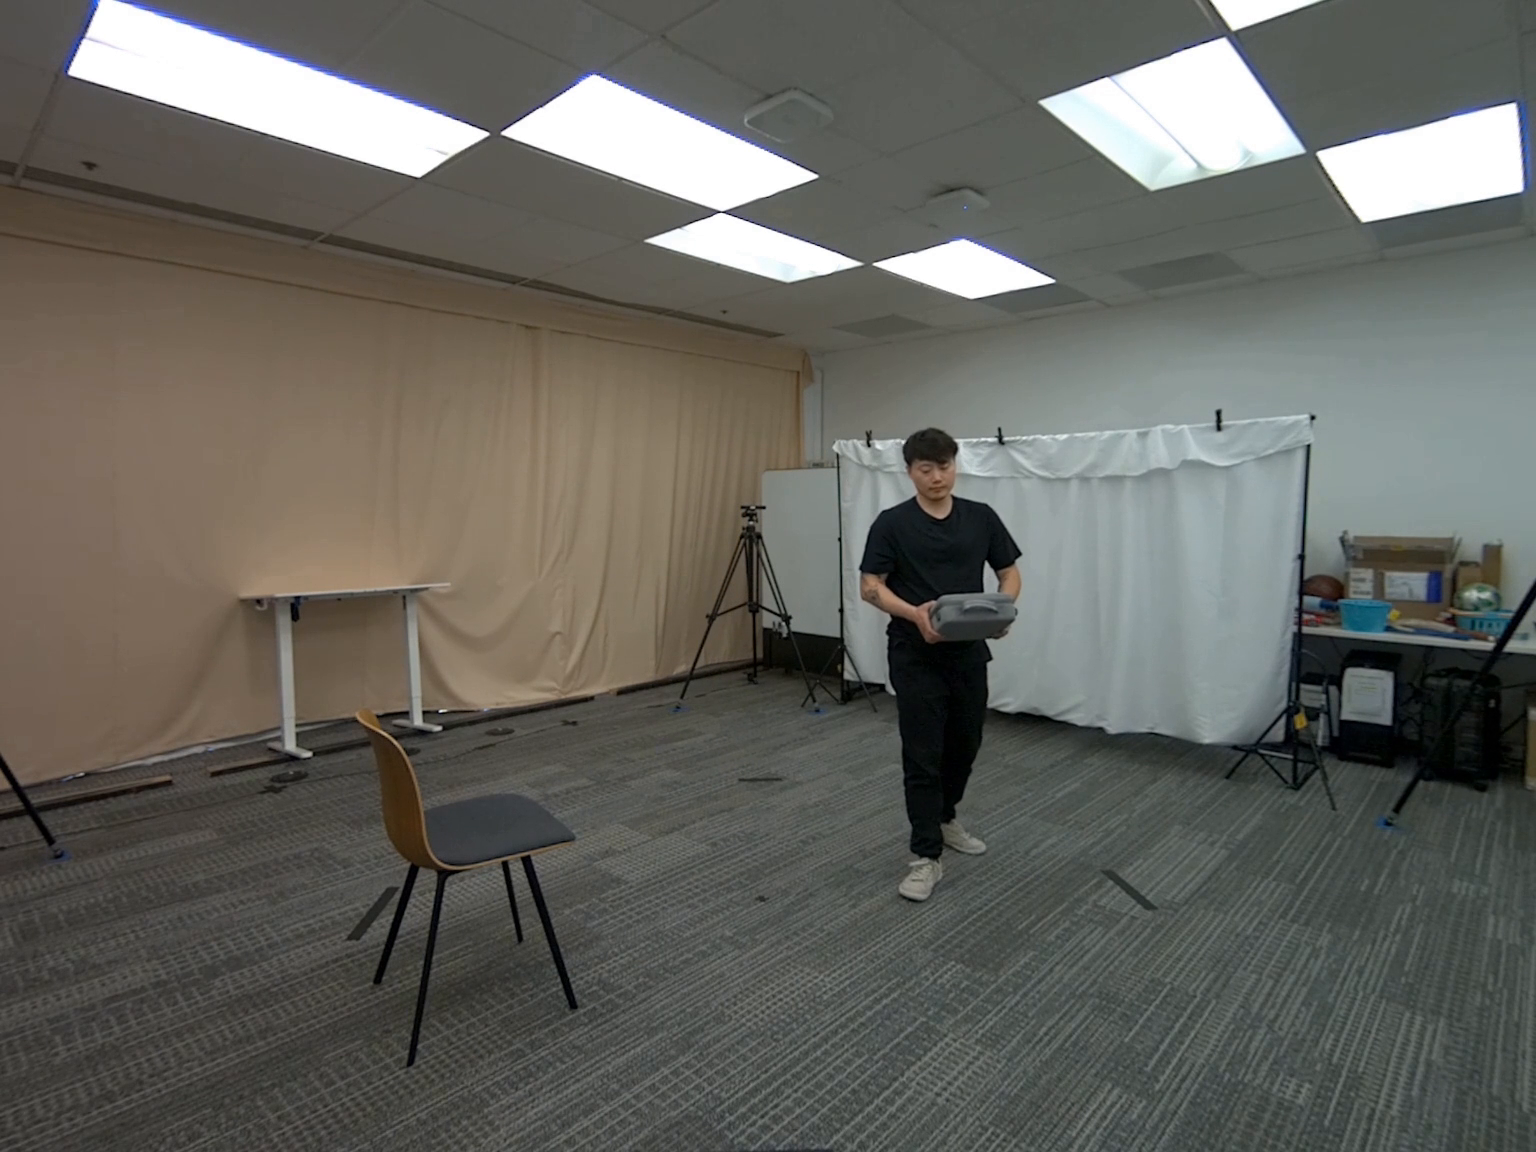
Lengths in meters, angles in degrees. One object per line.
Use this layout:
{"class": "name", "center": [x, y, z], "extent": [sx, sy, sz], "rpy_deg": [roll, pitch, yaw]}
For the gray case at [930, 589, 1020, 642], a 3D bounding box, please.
{"class": "gray case", "center": [0.694, 0.140, 2.902], "extent": [0.258, 0.106, 0.255], "rpy_deg": [-6, -19, 5]}
